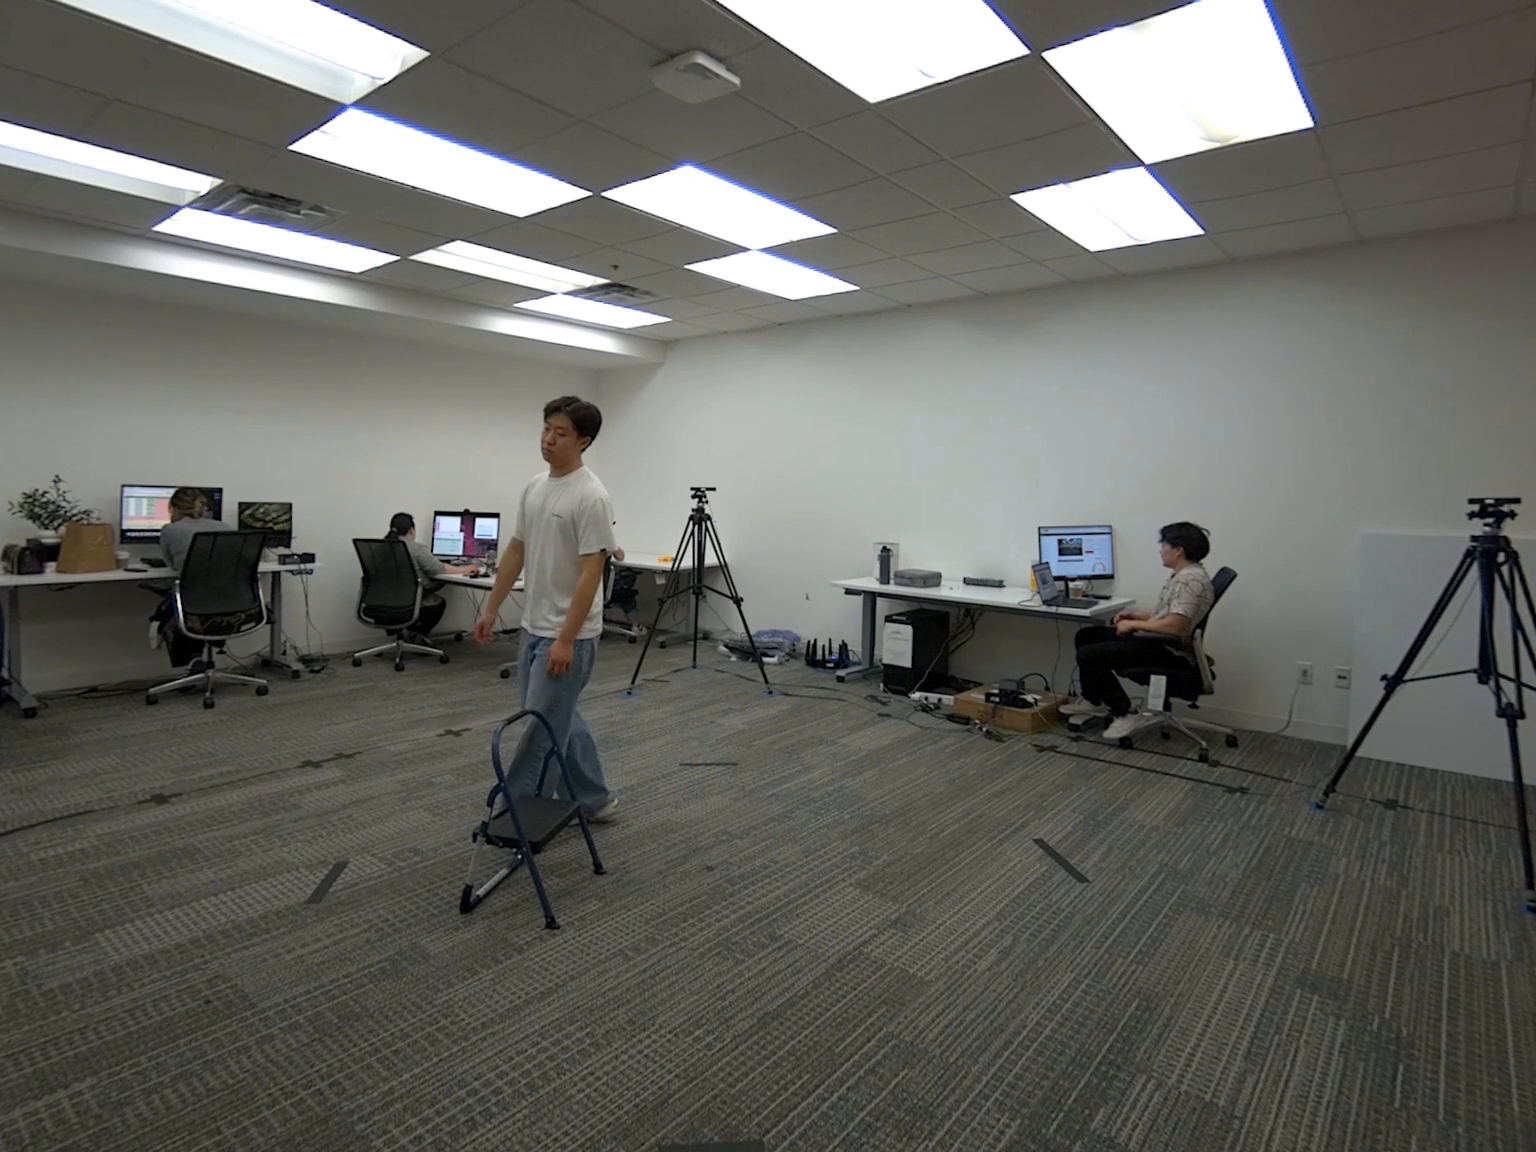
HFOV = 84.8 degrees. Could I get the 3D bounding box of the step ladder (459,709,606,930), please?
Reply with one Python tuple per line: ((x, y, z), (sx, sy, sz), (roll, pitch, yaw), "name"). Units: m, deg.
((-0.796, 0.777, 2.885), (0.354, 0.604, 0.426), (2, 4, 12), "step ladder")
